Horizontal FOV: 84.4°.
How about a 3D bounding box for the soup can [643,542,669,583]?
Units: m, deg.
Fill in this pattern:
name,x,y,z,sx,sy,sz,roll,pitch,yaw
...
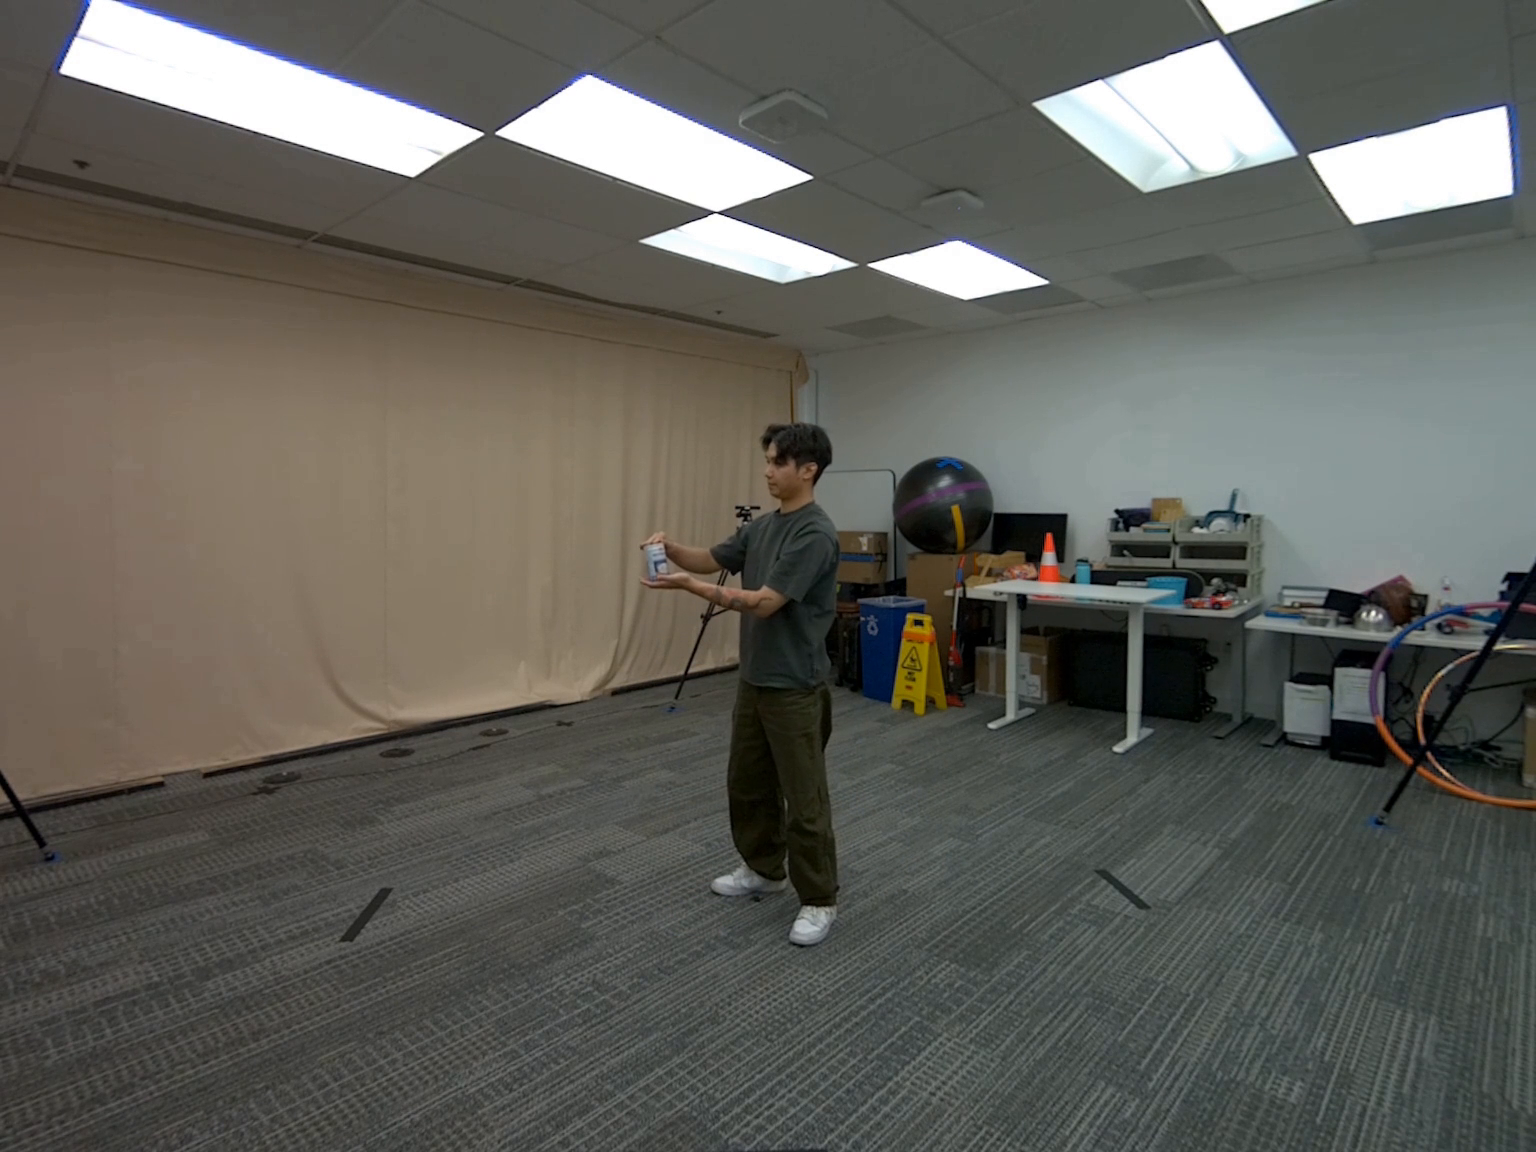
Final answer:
name,x,y,z,sx,sy,sz,roll,pitch,yaw
soup can,-0.361,-0.040,2.714,0.067,0.121,0.067,-10,1,-2
